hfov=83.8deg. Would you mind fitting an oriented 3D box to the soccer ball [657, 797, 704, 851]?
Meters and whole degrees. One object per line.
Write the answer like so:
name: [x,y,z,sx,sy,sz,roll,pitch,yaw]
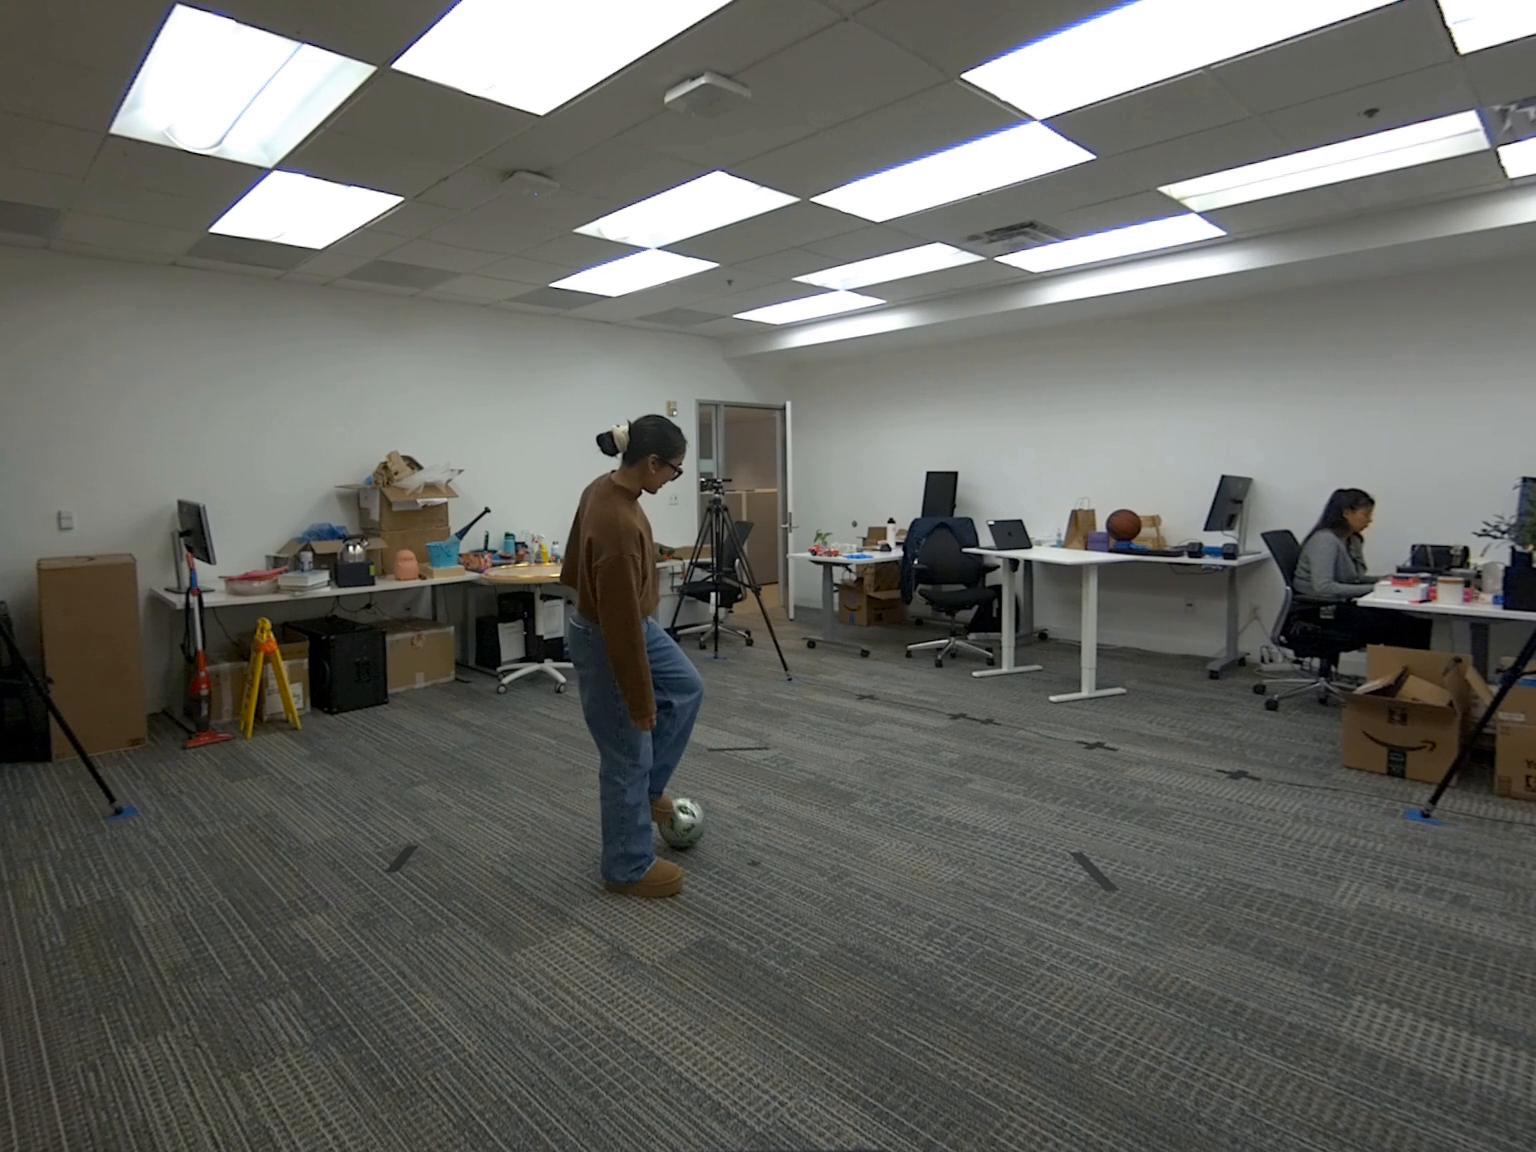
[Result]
soccer ball: [-0.318,0.939,3.263,0.187,0.187,0.188,-1,5,-2]
